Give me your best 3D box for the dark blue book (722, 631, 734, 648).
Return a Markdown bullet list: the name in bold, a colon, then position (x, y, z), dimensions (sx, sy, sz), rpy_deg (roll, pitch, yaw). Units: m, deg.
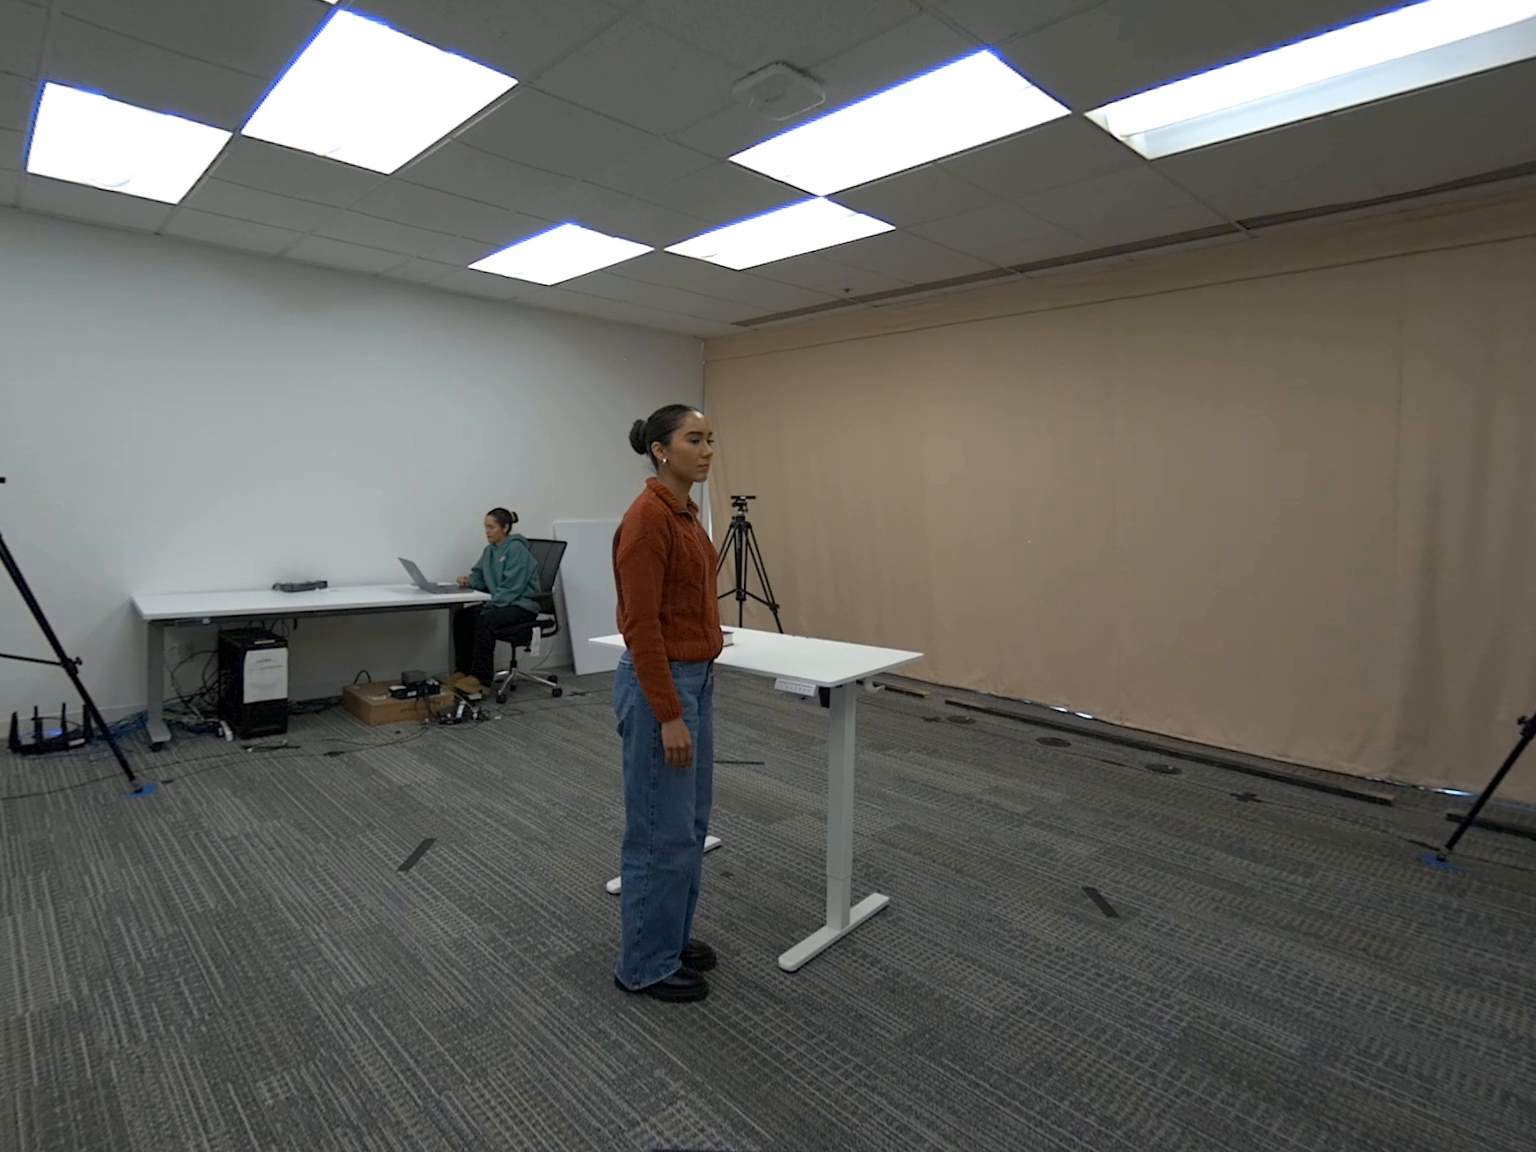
- **dark blue book**: position (-0.242, 0.221, 2.857), dimensions (0.167, 0.045, 0.240), rpy_deg (5, 6, 32)
